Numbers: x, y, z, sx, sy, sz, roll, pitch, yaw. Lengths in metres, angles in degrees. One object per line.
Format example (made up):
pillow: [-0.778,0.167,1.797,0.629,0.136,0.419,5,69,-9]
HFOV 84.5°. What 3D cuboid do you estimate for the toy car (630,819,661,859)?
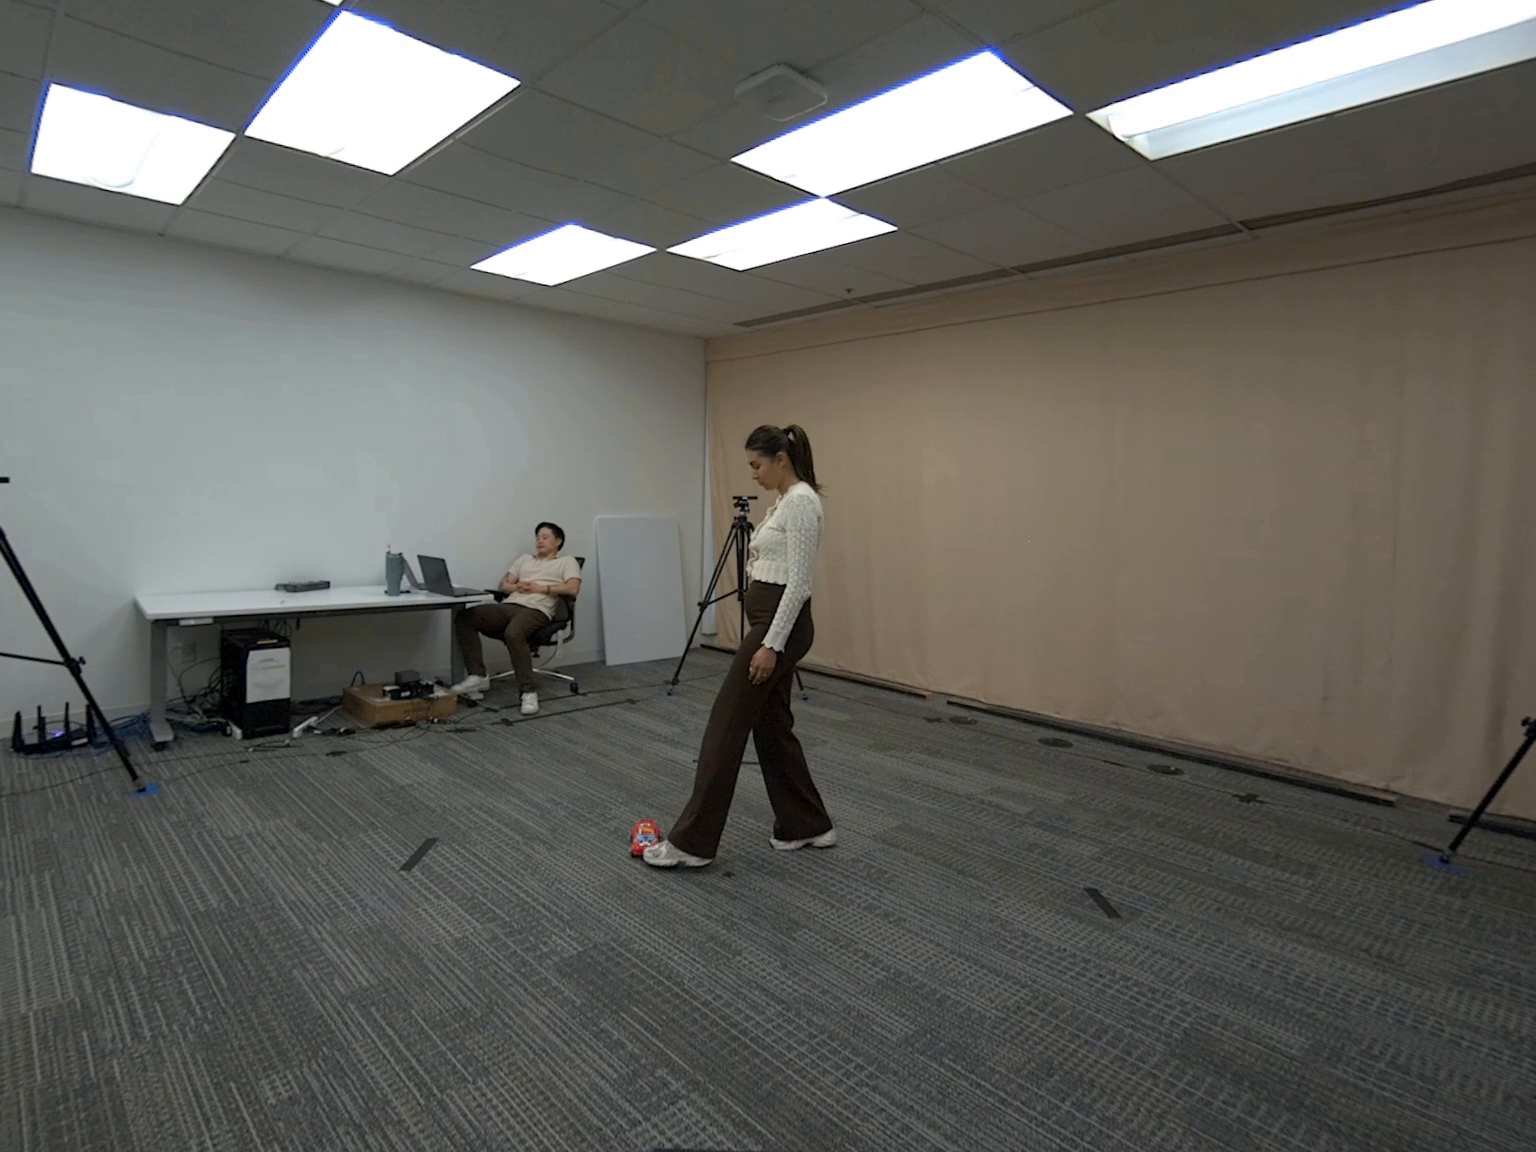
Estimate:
toy car: [-0.491,1.042,3.341,0.129,0.082,0.258,1,16,-7]
